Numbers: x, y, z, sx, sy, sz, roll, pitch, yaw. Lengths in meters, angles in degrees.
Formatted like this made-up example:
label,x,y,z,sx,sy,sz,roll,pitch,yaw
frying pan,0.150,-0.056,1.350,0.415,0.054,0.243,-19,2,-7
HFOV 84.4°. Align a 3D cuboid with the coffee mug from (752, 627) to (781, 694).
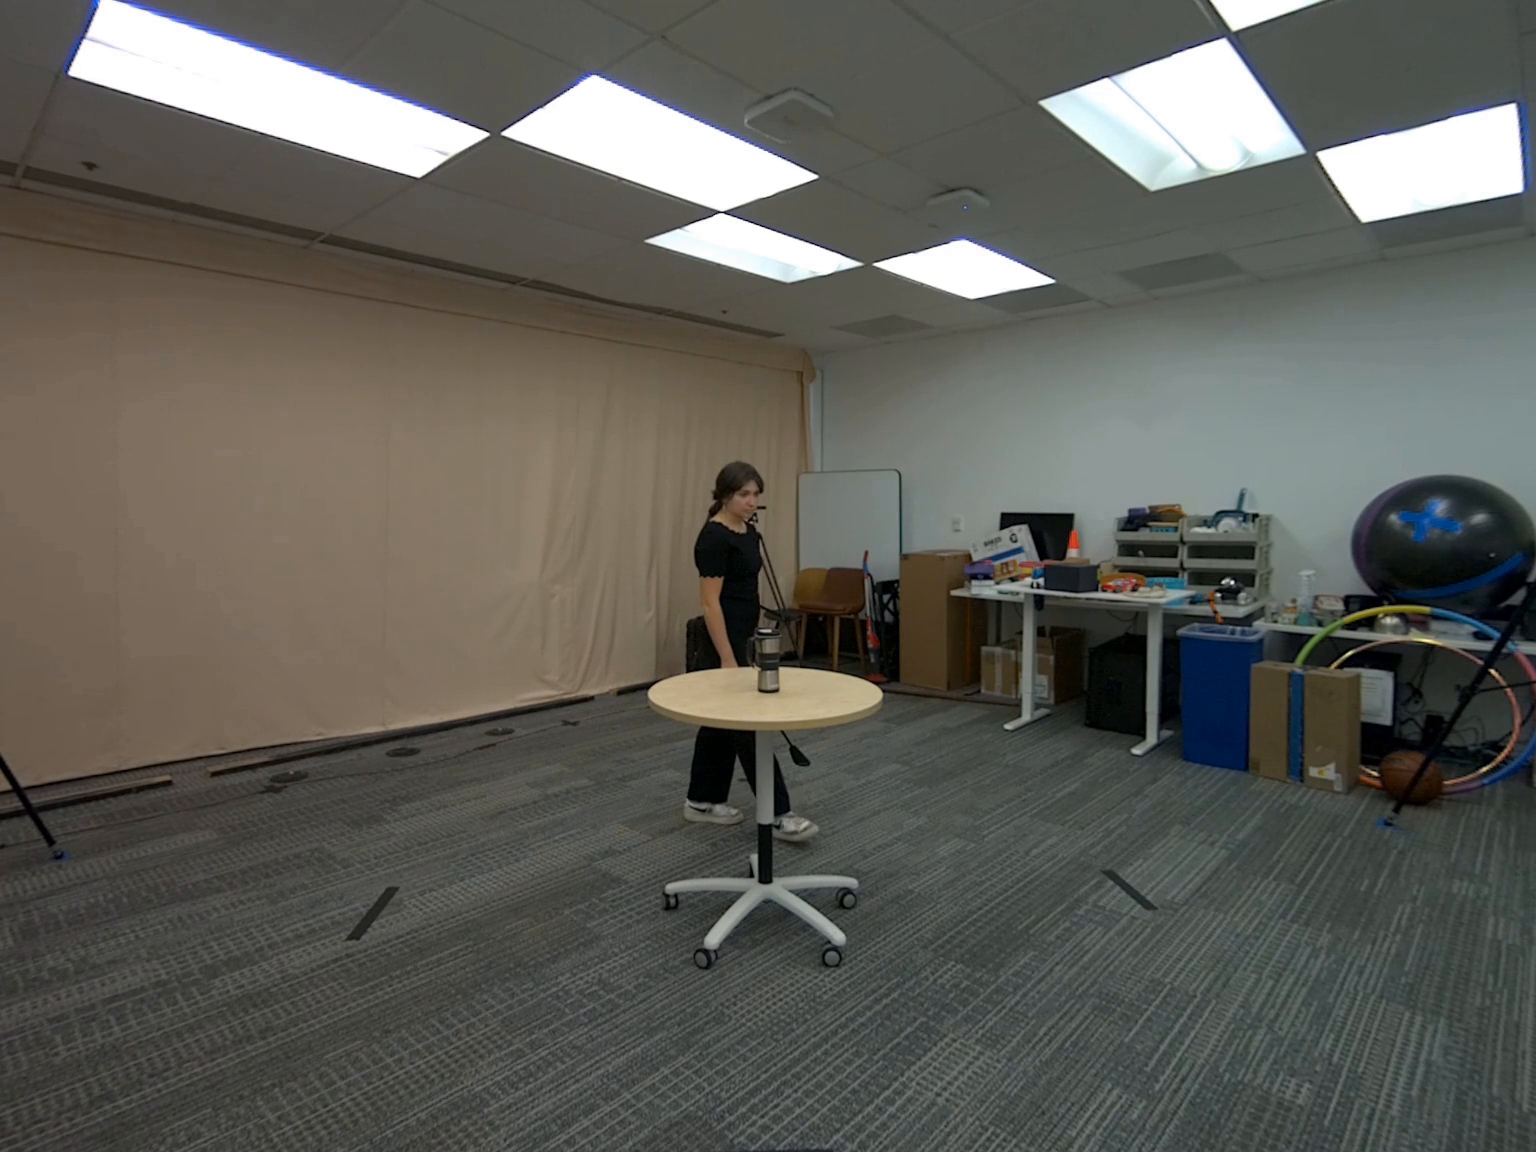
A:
label,x,y,z,sx,sy,sz,roll,pitch,yaw
coffee mug,-0.014,0.278,2.767,0.124,0.202,0.086,4,8,19
